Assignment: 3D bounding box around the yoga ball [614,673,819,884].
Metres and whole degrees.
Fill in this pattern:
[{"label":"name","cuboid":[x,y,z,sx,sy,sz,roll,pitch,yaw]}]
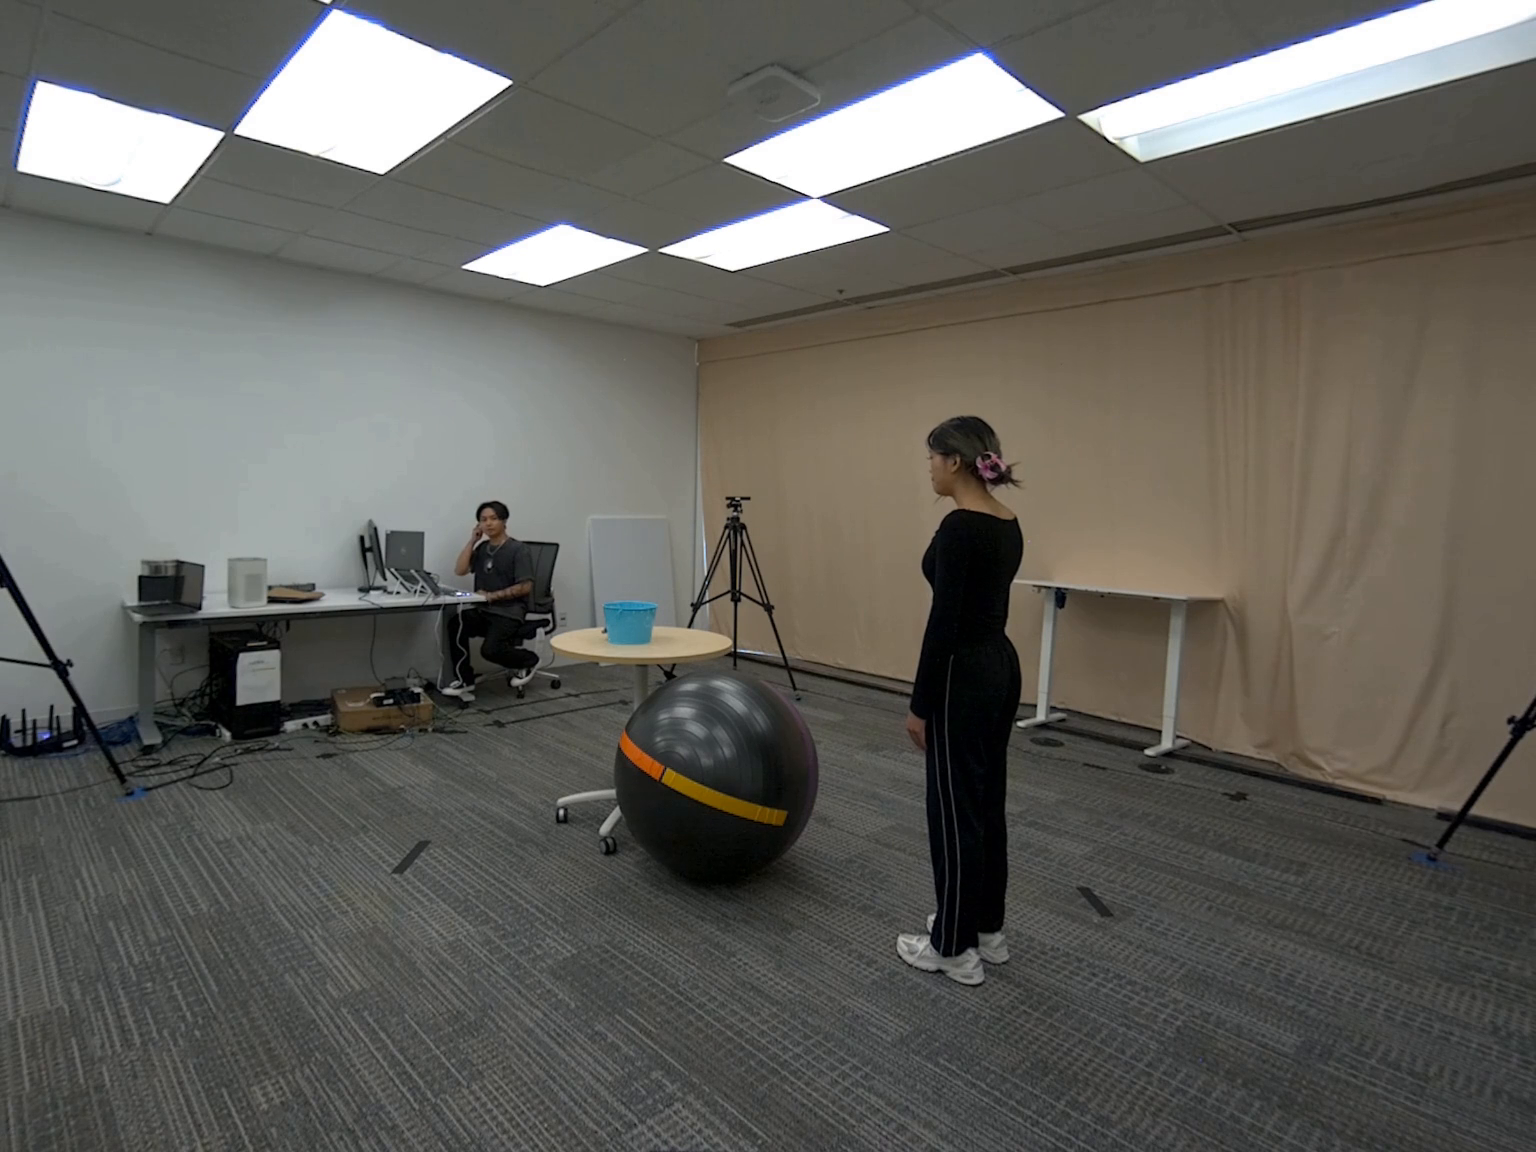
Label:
[{"label":"yoga ball","cuboid":[-0.196,0.736,3.144,0.757,0.756,0.761,1,4,-1]}]
